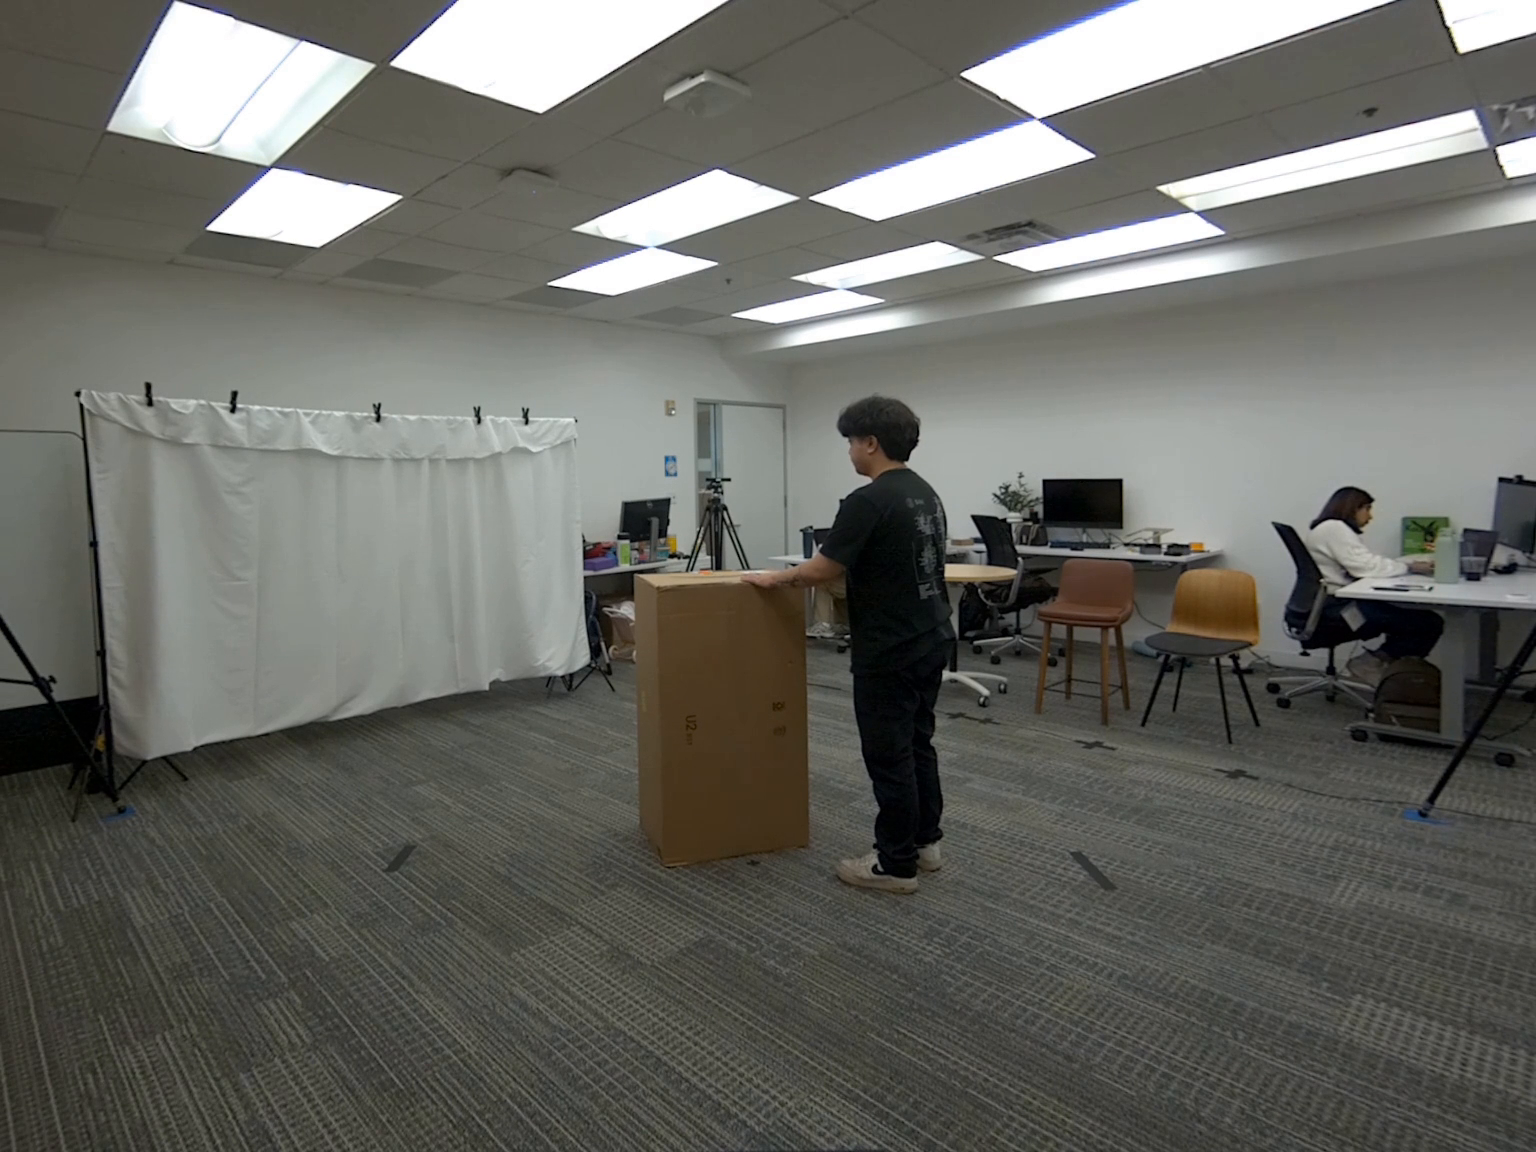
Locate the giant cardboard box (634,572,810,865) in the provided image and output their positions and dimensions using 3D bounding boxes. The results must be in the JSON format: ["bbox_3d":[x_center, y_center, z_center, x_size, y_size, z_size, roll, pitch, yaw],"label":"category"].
[{"bbox_3d":[-0.189,0.506,3.331,0.575,1.024,0.455,-2,4,-18],"label":"giant cardboard box"}]
